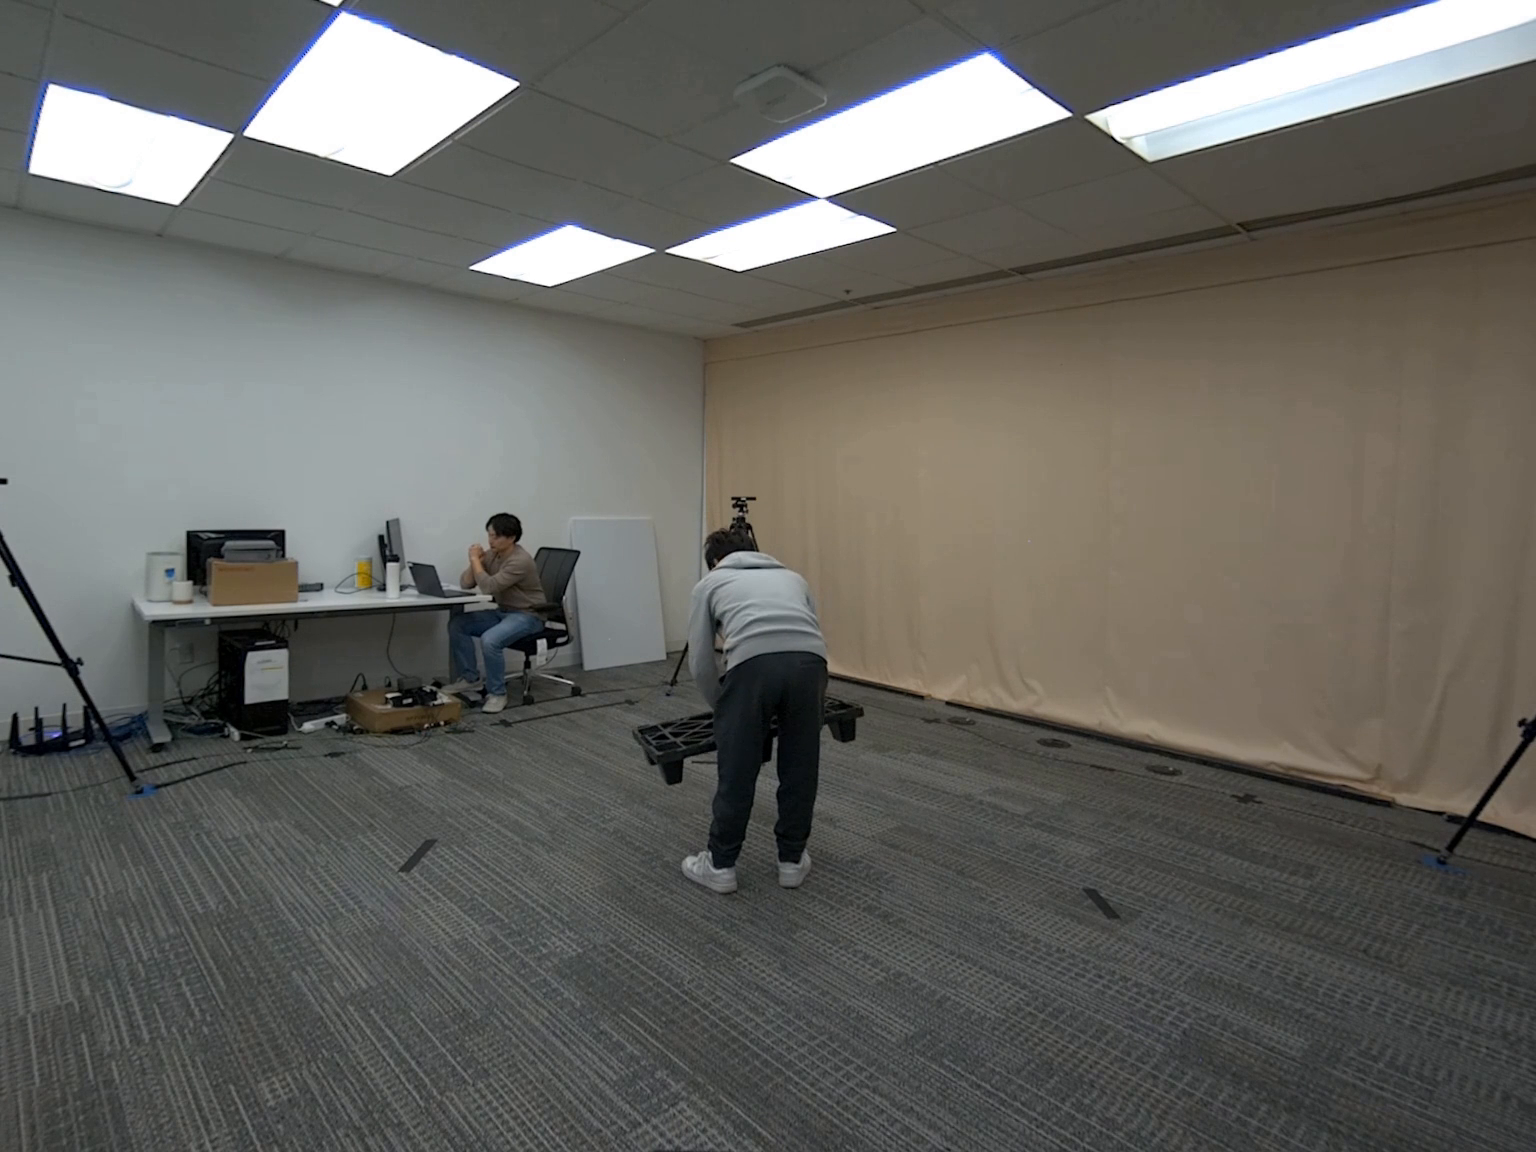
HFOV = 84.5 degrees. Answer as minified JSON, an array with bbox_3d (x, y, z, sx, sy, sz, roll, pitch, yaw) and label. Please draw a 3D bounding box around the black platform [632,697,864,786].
[{"bbox_3d":[-0.102,0.624,3.323,0.797,0.143,0.611,-10,1,-15],"label":"black platform"}]
